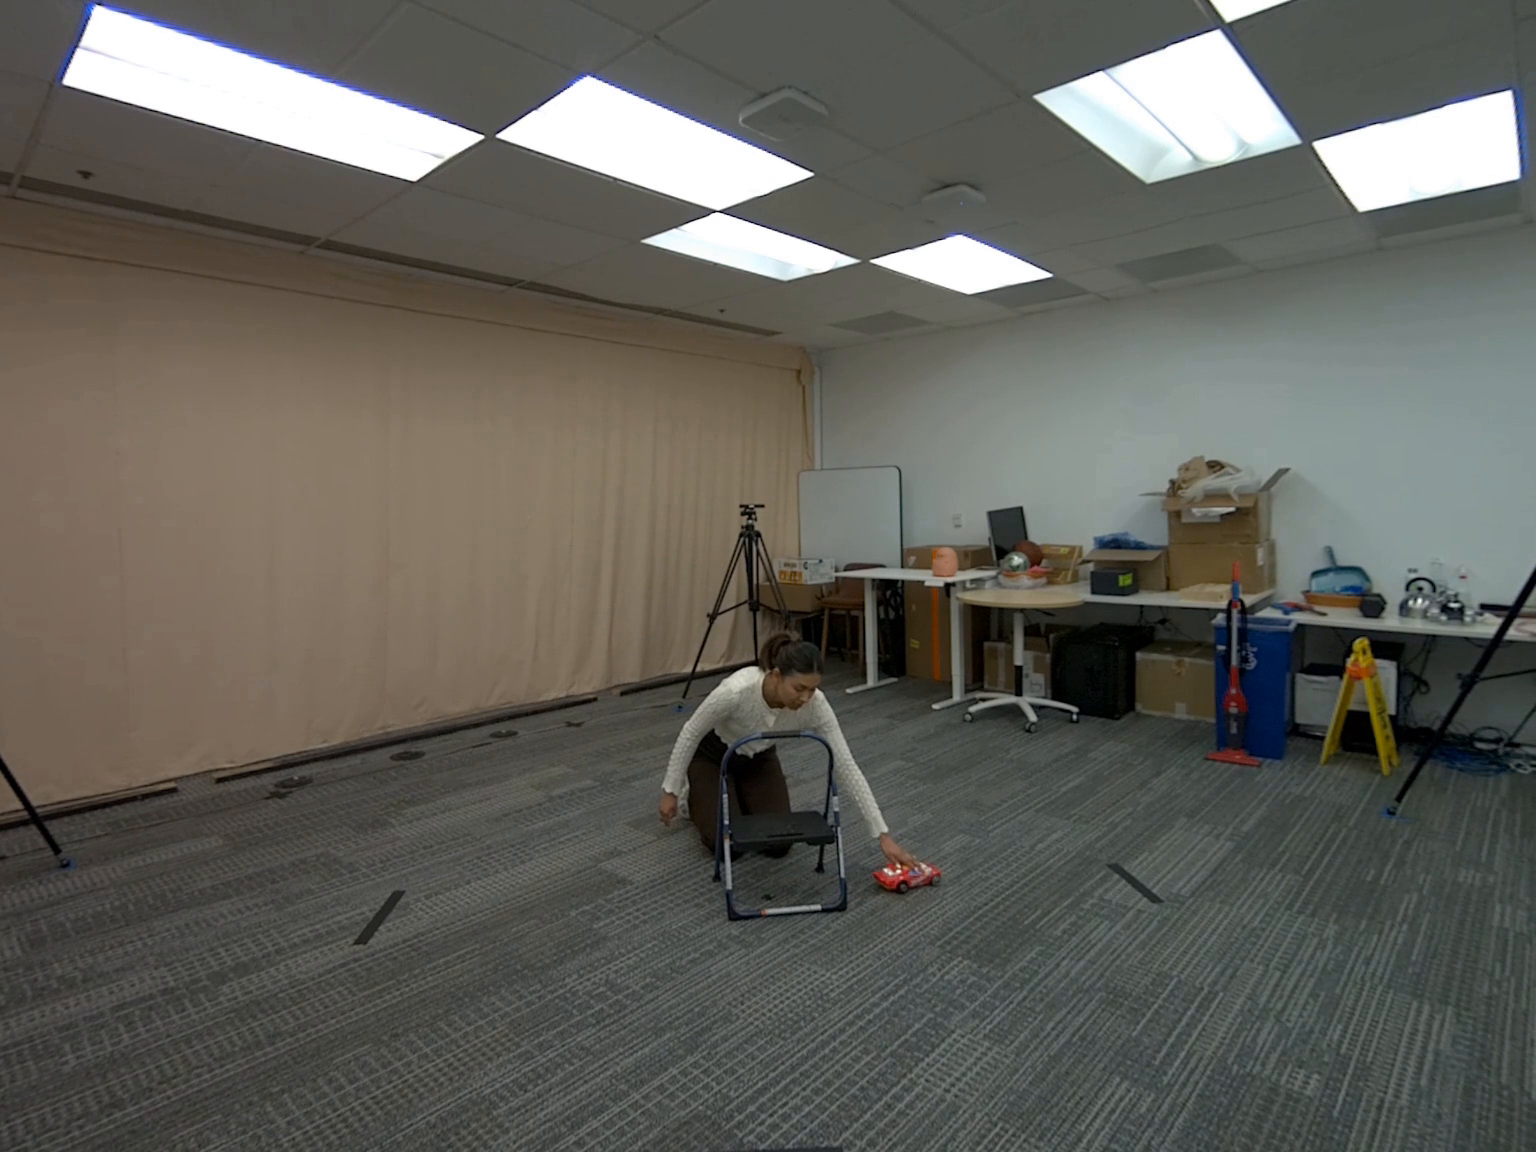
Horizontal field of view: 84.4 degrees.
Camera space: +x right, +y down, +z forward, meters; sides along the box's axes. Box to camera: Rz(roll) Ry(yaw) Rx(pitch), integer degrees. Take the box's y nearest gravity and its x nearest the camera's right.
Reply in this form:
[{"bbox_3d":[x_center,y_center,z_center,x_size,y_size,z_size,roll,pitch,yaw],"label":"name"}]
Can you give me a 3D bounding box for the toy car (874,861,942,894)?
[{"bbox_3d":[0.484,1.093,3.046,0.249,0.083,0.133,9,1,-22],"label":"toy car"}]
